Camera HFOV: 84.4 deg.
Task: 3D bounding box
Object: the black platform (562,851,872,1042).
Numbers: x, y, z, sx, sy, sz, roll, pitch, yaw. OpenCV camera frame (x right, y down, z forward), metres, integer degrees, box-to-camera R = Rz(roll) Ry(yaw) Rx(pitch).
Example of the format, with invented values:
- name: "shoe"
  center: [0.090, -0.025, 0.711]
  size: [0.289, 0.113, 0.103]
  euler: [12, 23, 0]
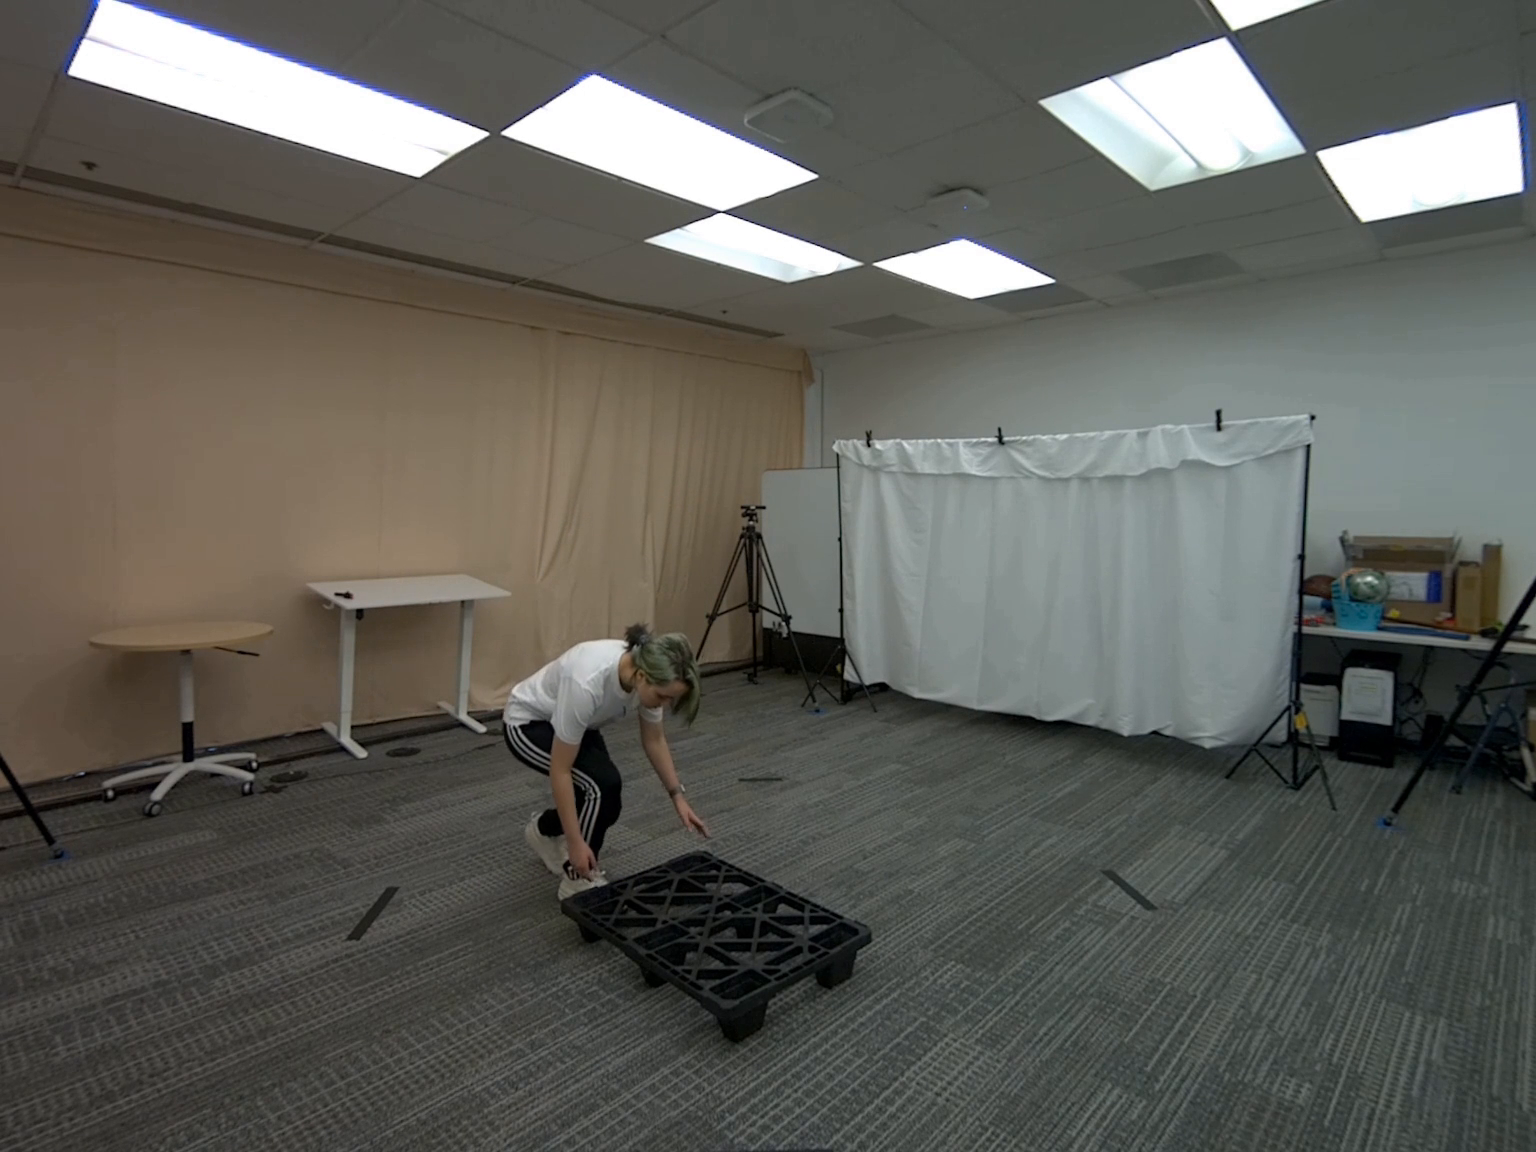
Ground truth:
- name: "black platform"
  center: [-0.172, 1.112, 2.592]
  size: [0.587, 0.143, 0.832]
  euler: [-5, 7, -43]
